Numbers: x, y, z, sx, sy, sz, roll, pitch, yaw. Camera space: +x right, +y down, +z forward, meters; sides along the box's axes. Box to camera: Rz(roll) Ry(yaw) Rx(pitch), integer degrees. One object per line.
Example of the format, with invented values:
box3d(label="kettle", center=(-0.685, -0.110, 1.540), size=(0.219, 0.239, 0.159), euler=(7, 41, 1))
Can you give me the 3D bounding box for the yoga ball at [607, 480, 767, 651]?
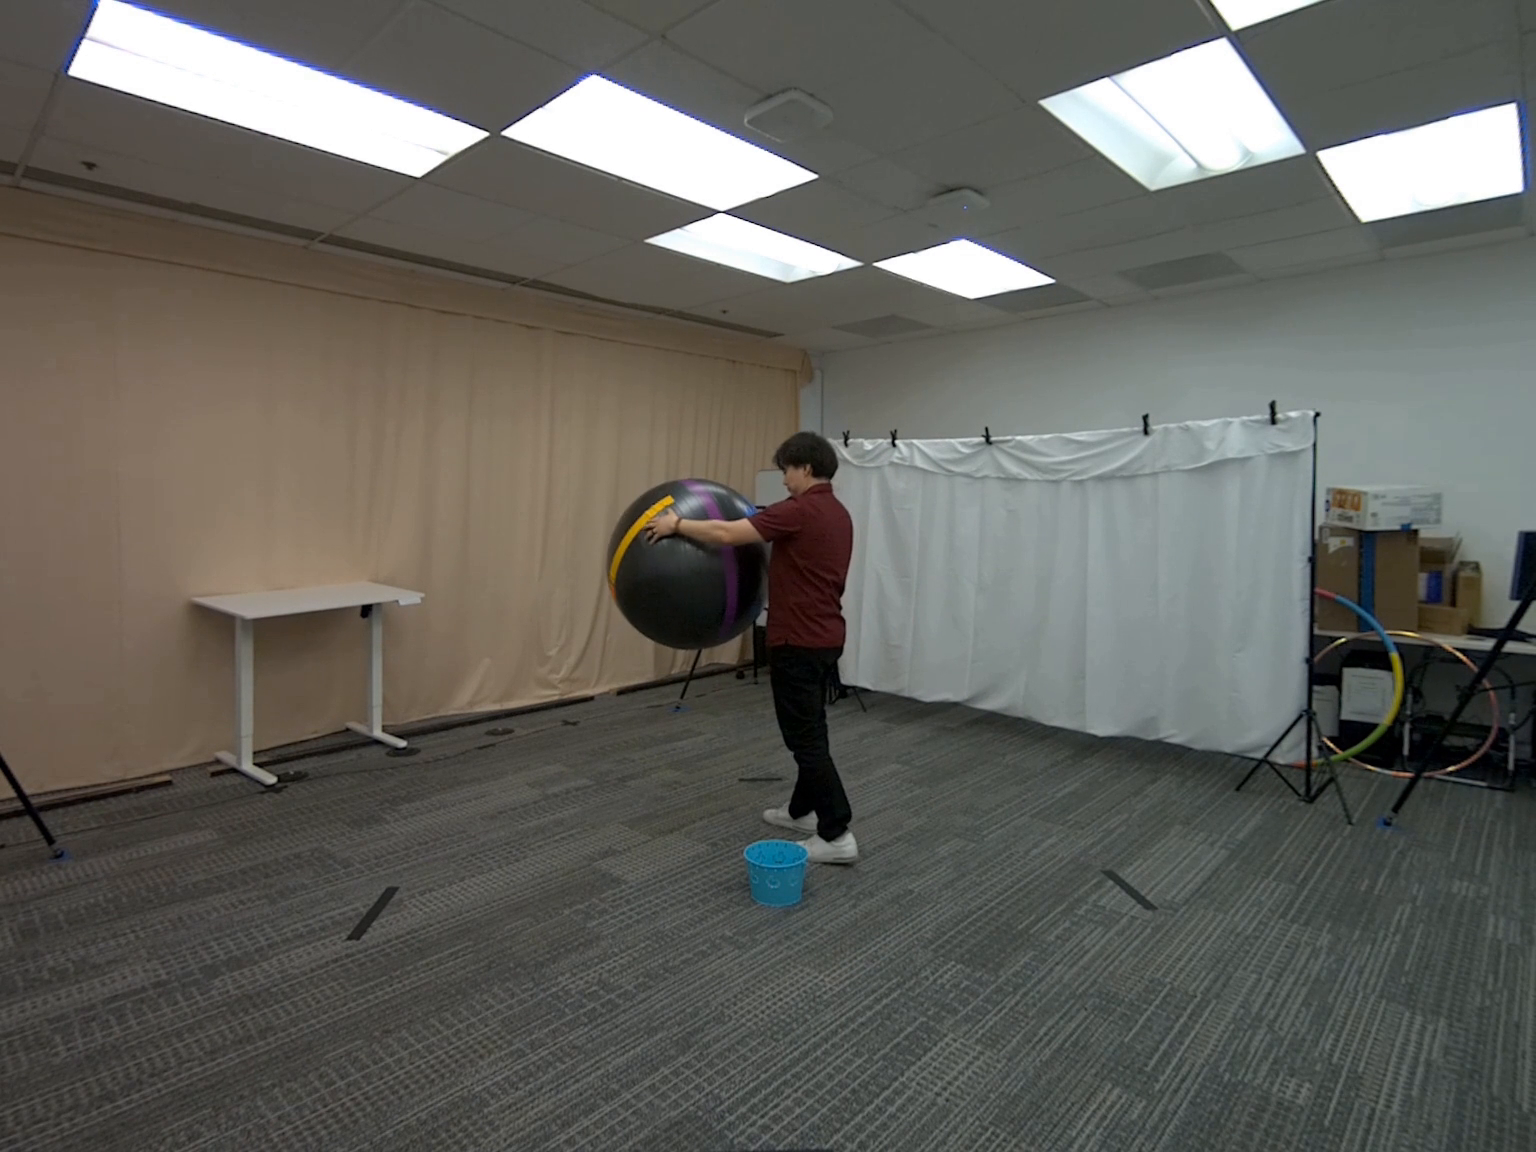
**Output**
box3d(label="yoga ball", center=(-0.337, -0.045, 3.762), size=(0.757, 0.756, 0.761), euler=(0, 4, -2))
